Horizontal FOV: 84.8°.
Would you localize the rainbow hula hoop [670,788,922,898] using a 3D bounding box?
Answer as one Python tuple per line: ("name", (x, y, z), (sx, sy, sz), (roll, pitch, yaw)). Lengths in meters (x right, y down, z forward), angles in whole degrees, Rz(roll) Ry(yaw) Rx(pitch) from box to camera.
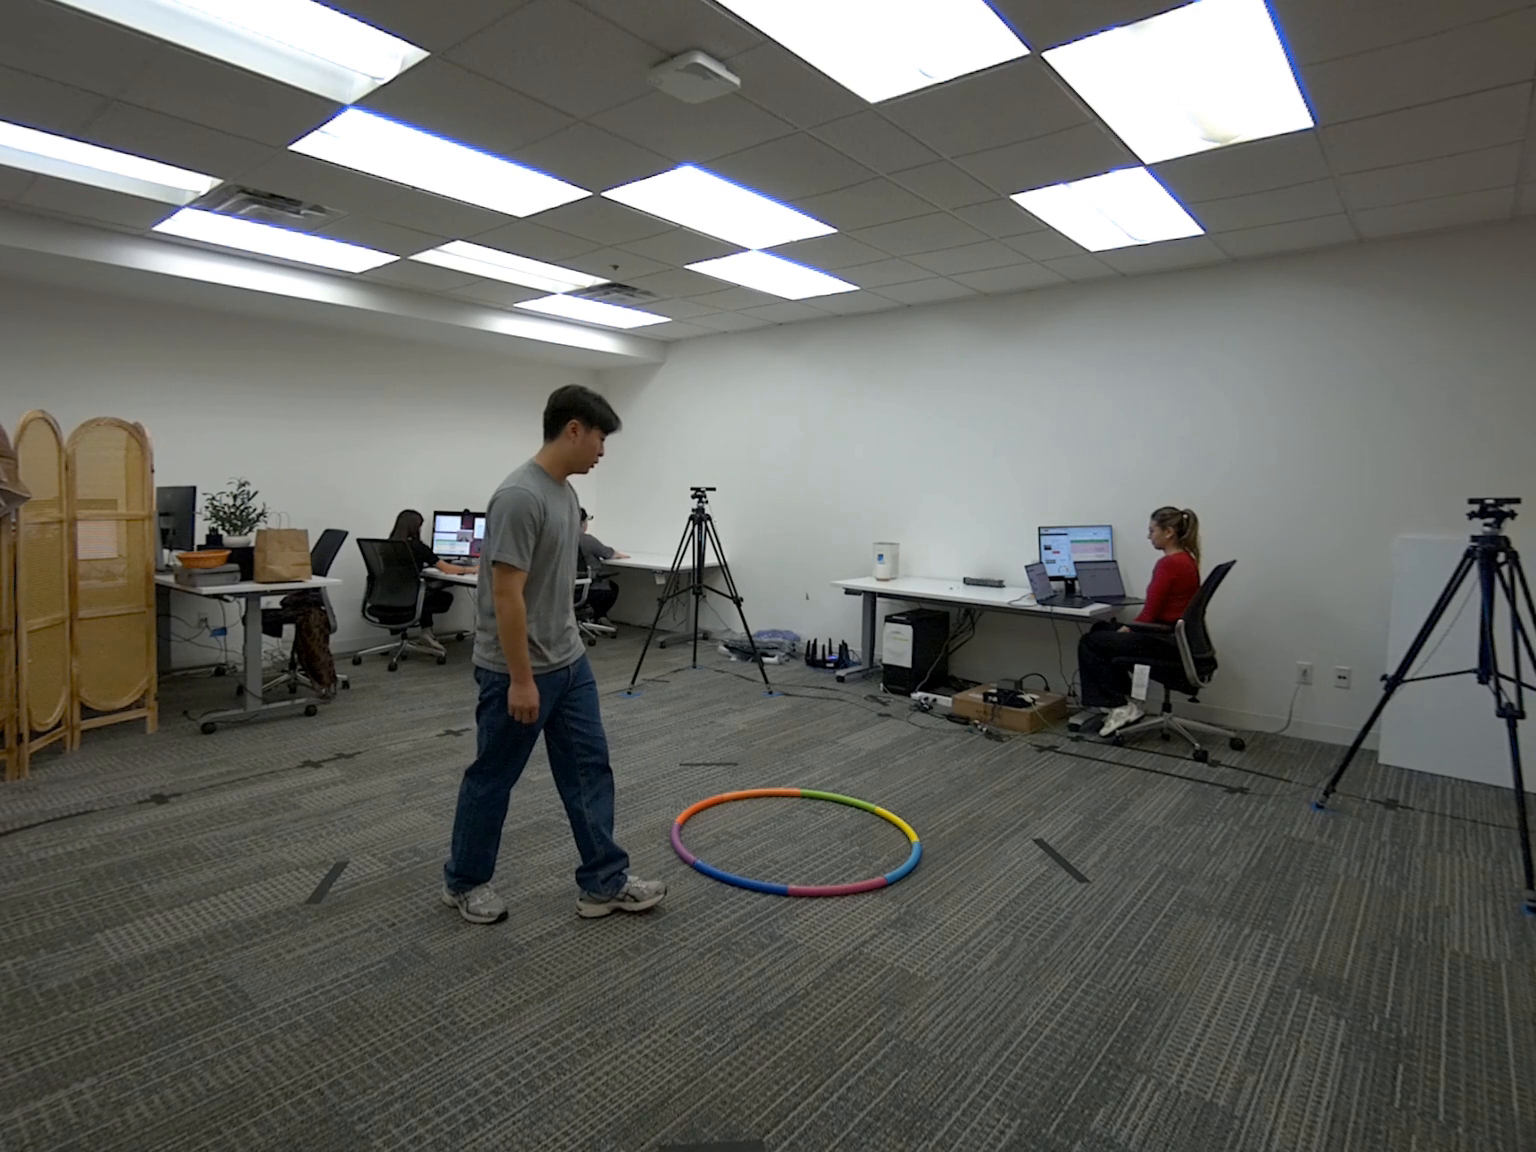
("rainbow hula hoop", (0.095, 1.017, 3.379), (0.978, 0.035, 0.984), (1, 6, -2))
